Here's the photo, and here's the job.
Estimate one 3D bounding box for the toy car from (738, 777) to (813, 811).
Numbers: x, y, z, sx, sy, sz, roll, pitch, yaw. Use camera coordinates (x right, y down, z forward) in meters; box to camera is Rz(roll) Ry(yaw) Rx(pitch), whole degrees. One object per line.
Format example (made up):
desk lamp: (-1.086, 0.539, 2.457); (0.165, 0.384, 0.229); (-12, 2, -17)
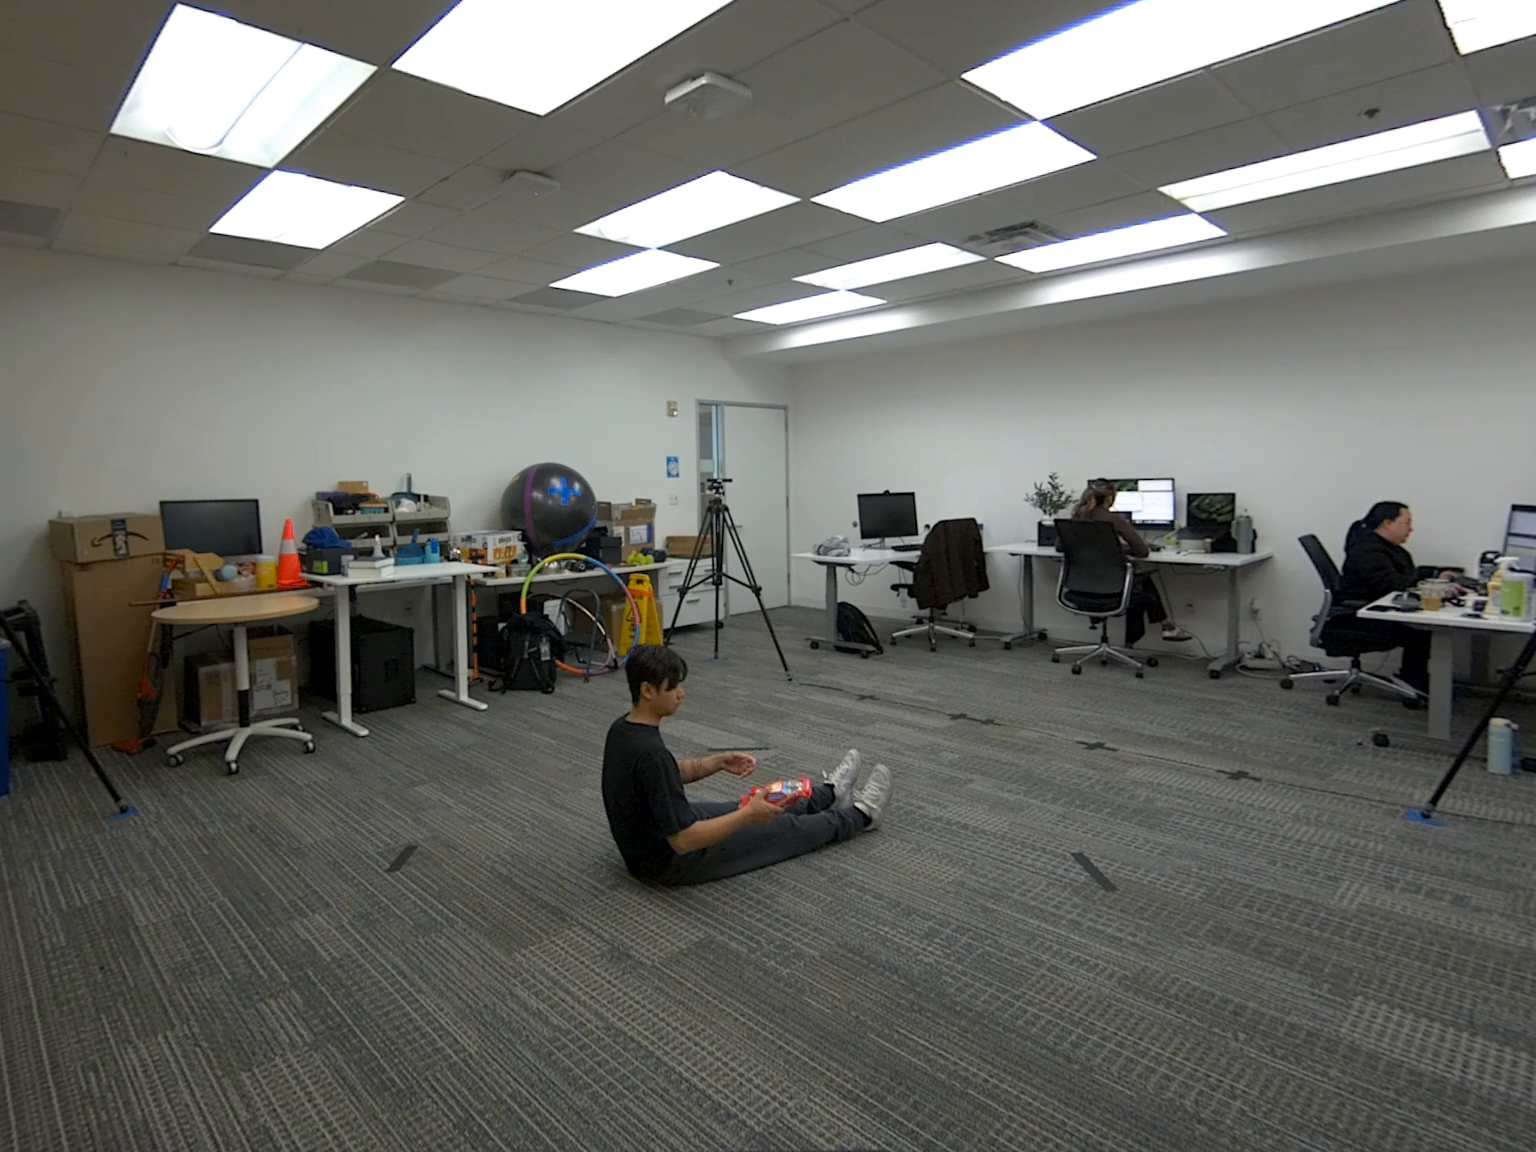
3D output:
toy car: (0.009, 0.756, 2.919); (0.257, 0.082, 0.131); (-7, 16, 12)
